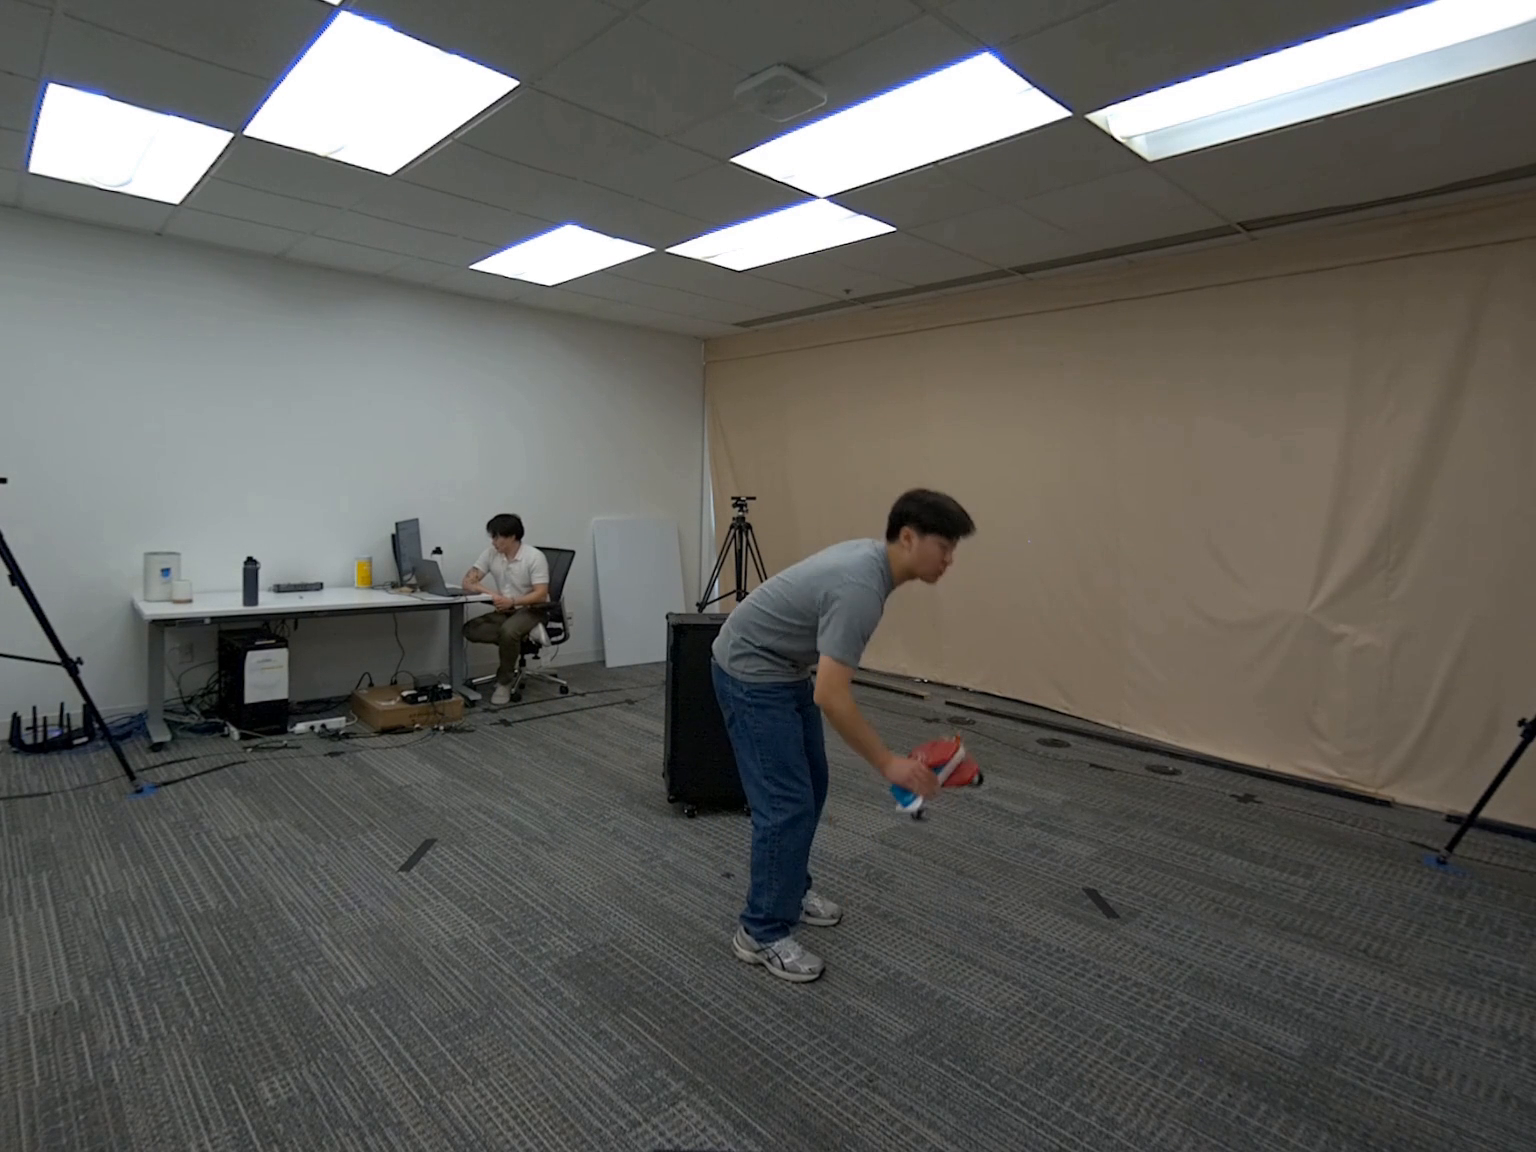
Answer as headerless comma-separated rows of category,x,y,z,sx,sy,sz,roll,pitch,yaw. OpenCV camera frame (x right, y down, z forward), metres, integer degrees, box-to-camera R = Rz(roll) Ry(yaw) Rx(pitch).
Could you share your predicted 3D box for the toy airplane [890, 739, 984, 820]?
toy airplane,0.465,0.600,2.339,0.255,0.156,0.255,-18,1,-43
